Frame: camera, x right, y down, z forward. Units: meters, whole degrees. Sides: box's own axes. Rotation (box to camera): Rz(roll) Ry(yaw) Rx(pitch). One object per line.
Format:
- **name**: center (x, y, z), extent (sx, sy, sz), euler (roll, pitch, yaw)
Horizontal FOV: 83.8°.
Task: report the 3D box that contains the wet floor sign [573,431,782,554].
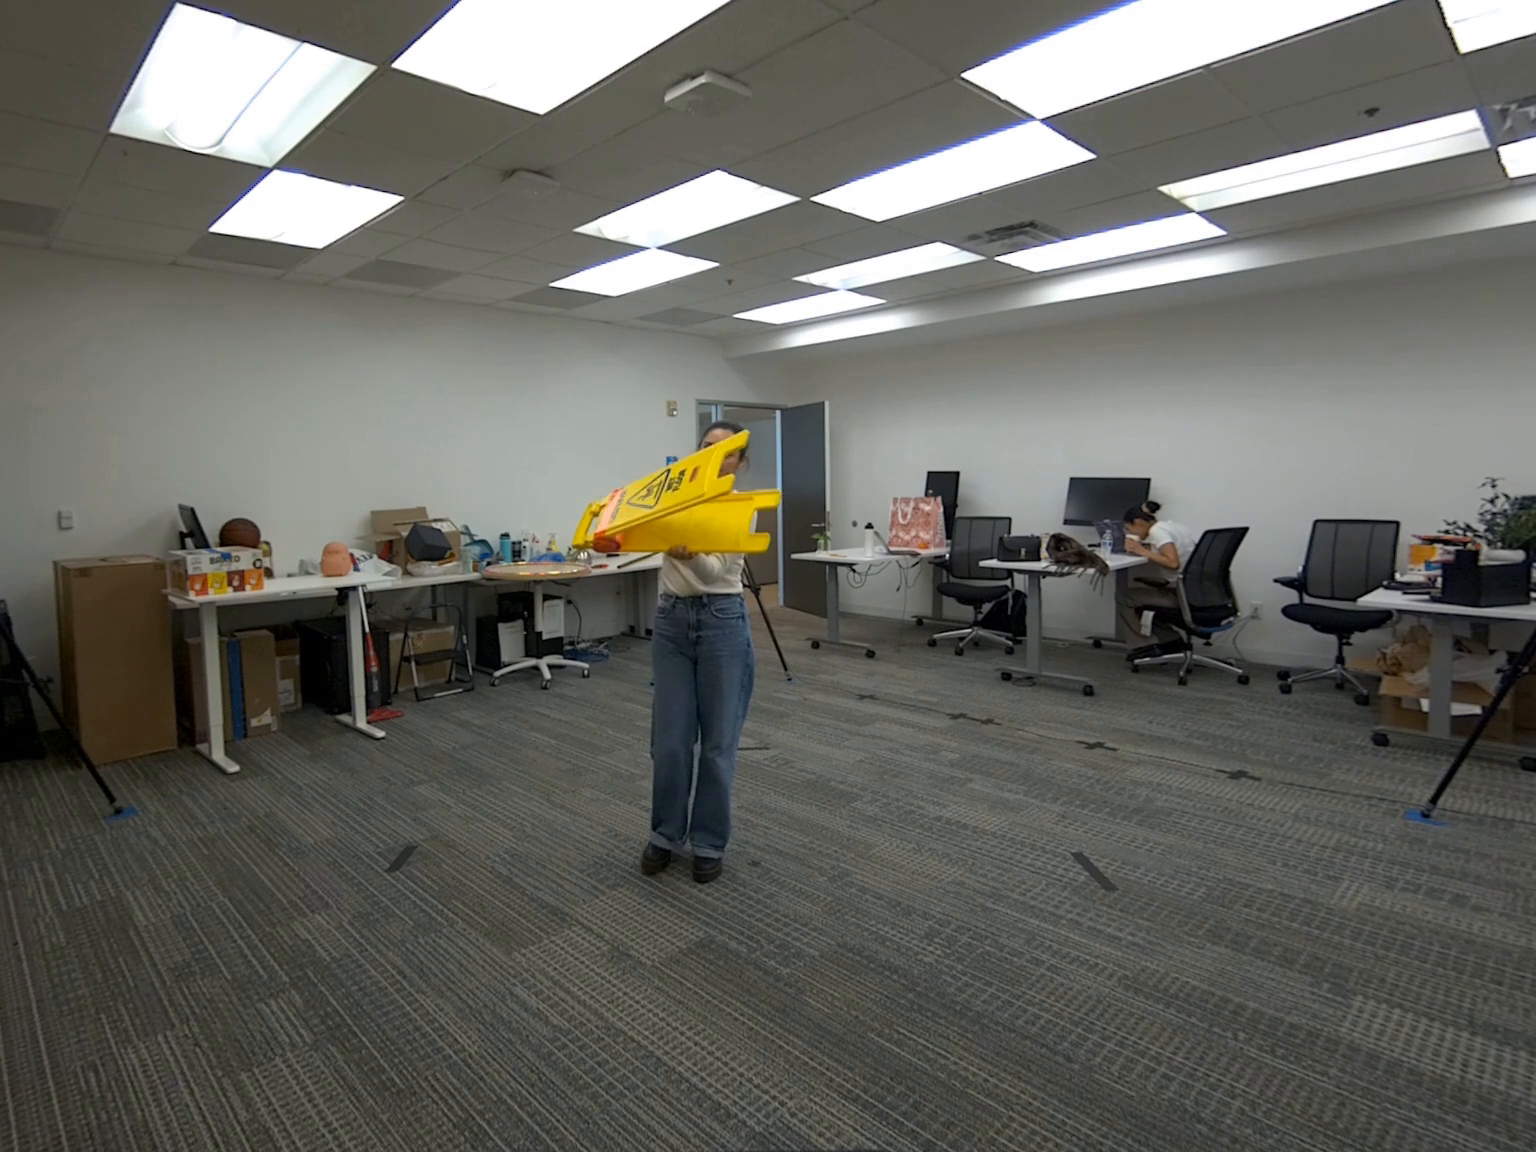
- **wet floor sign**: center (-0.327, -0.195, 2.673), extent (0.658, 0.279, 0.287), euler (-9, 43, 26)
